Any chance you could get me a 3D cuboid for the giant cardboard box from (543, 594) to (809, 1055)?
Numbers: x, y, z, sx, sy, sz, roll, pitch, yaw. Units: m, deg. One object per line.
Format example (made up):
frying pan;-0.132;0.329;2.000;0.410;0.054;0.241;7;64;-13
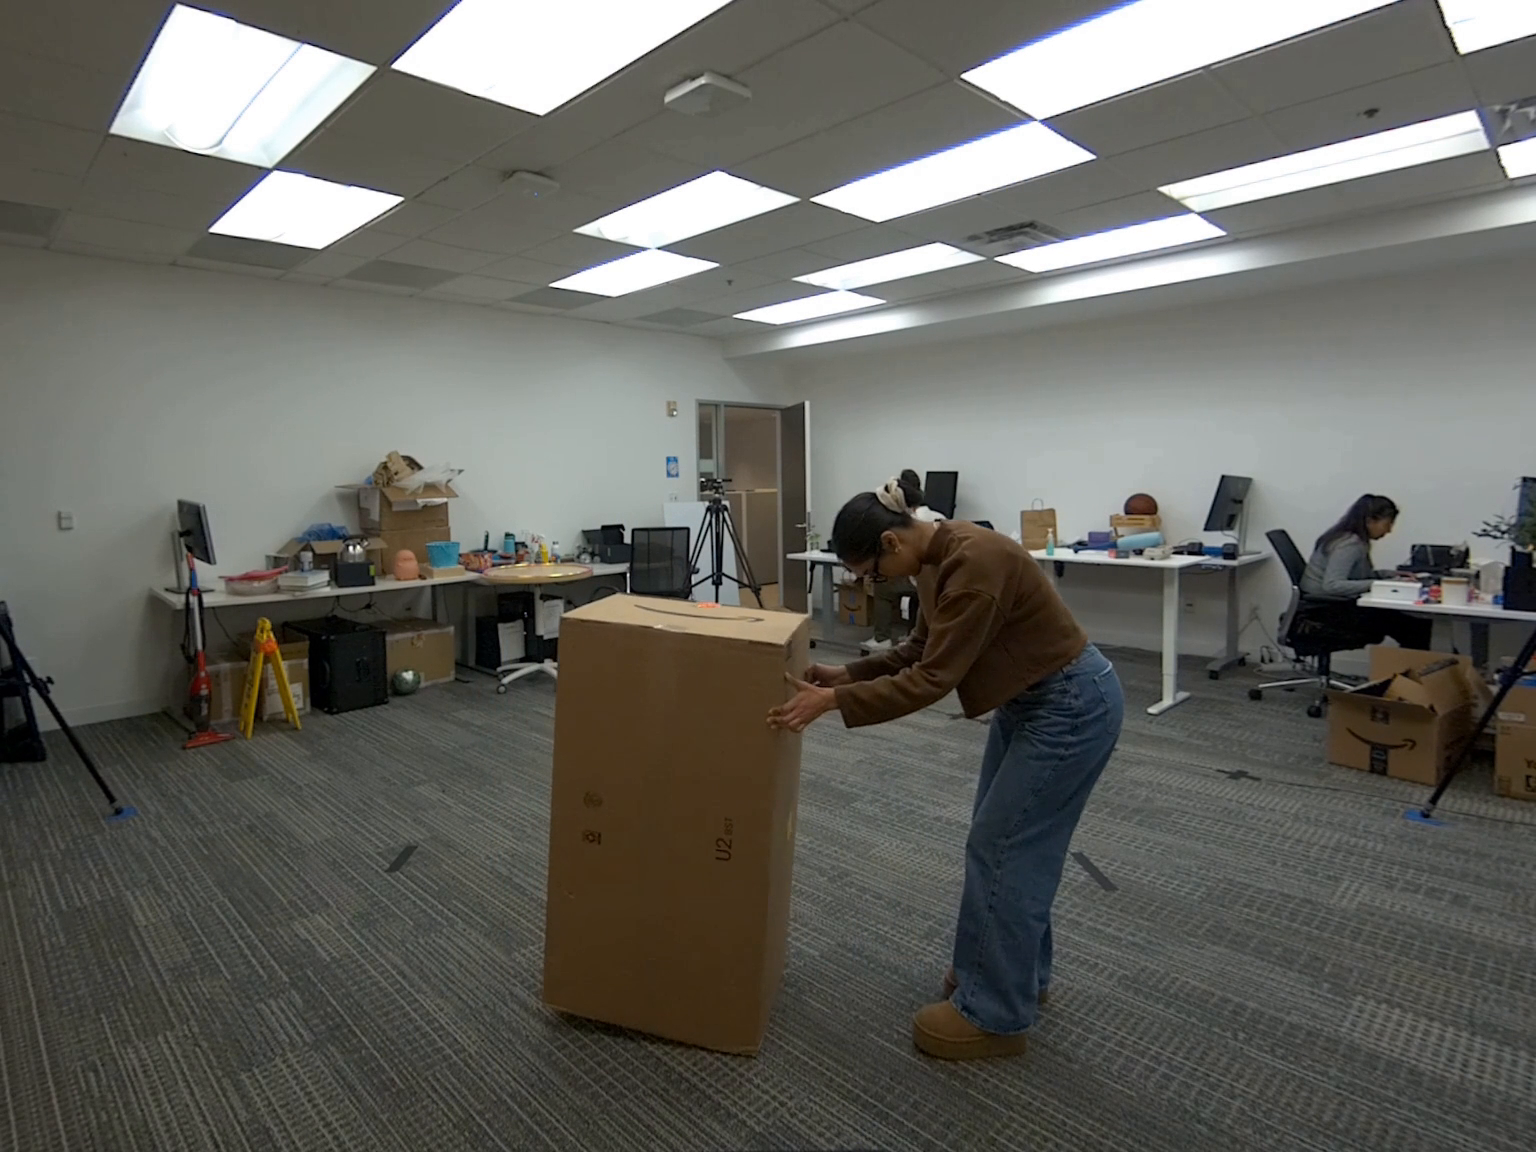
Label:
giant cardboard box;-0.225;0.613;2.297;0.586;1.021;0.422;5;5;13
